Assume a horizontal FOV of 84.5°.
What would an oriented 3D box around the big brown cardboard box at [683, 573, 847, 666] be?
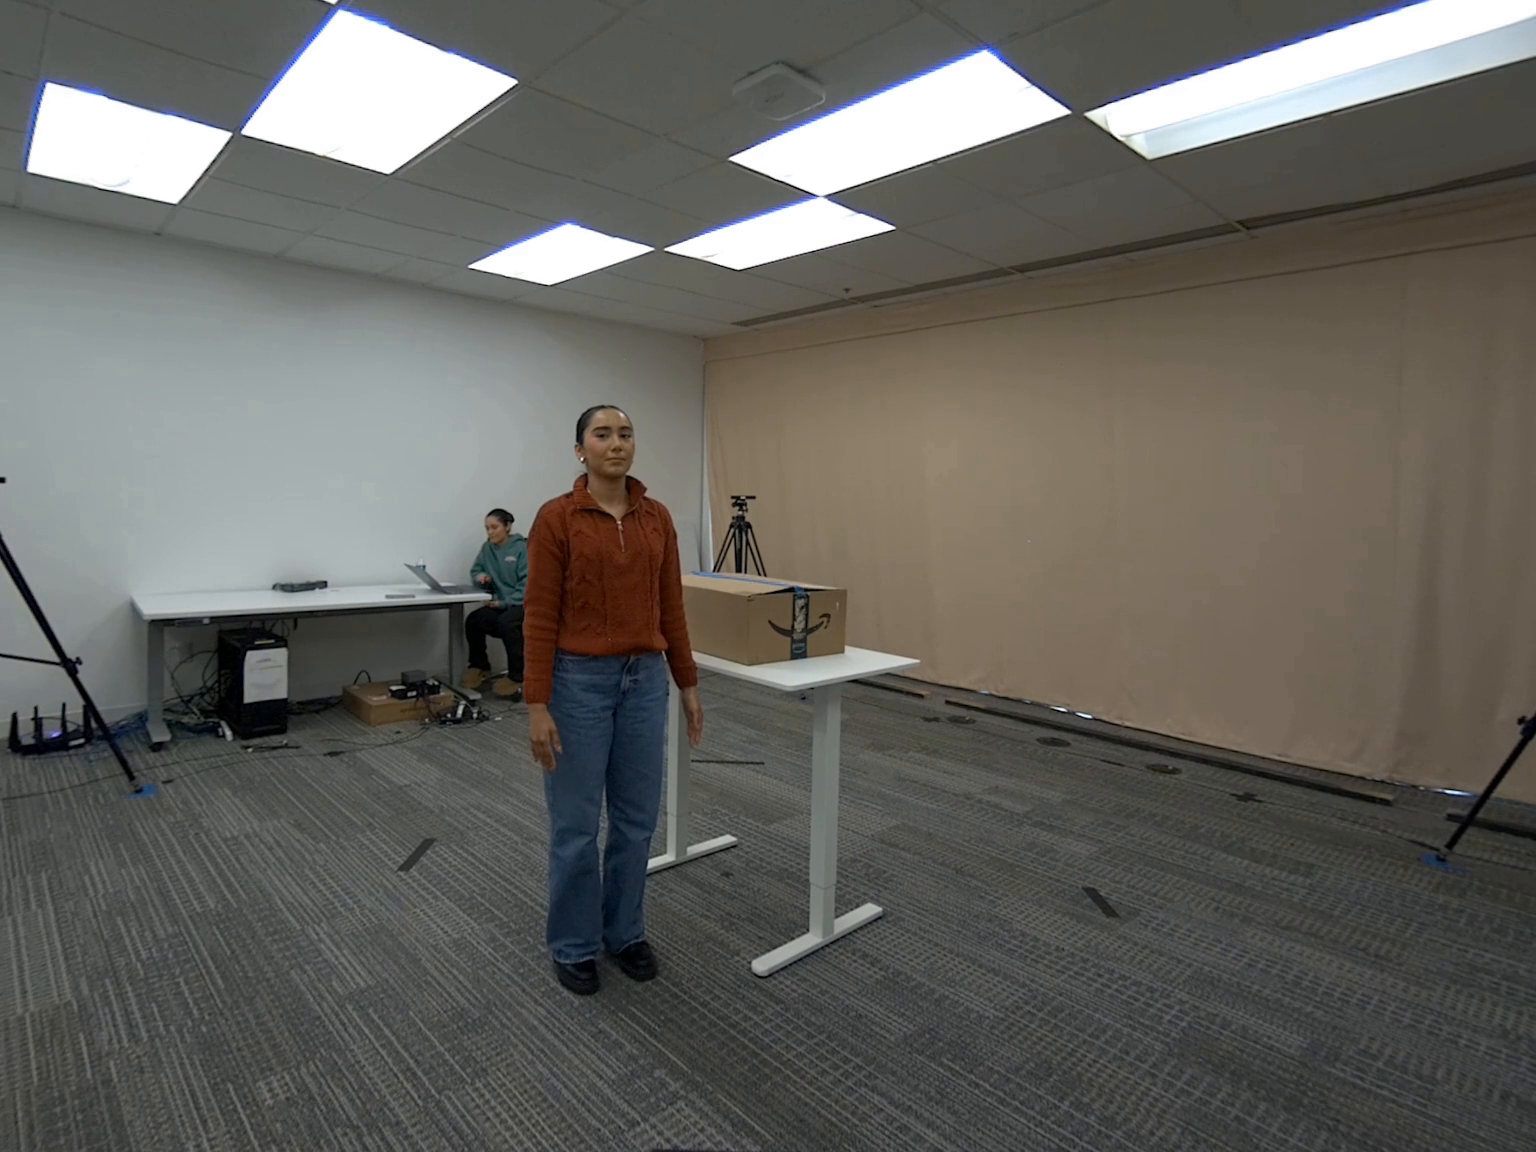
[{"bbox_3d":[-0.076,0.132,2.894,0.408,0.232,0.603,-3,6,-37],"label":"big brown cardboard box"}]
